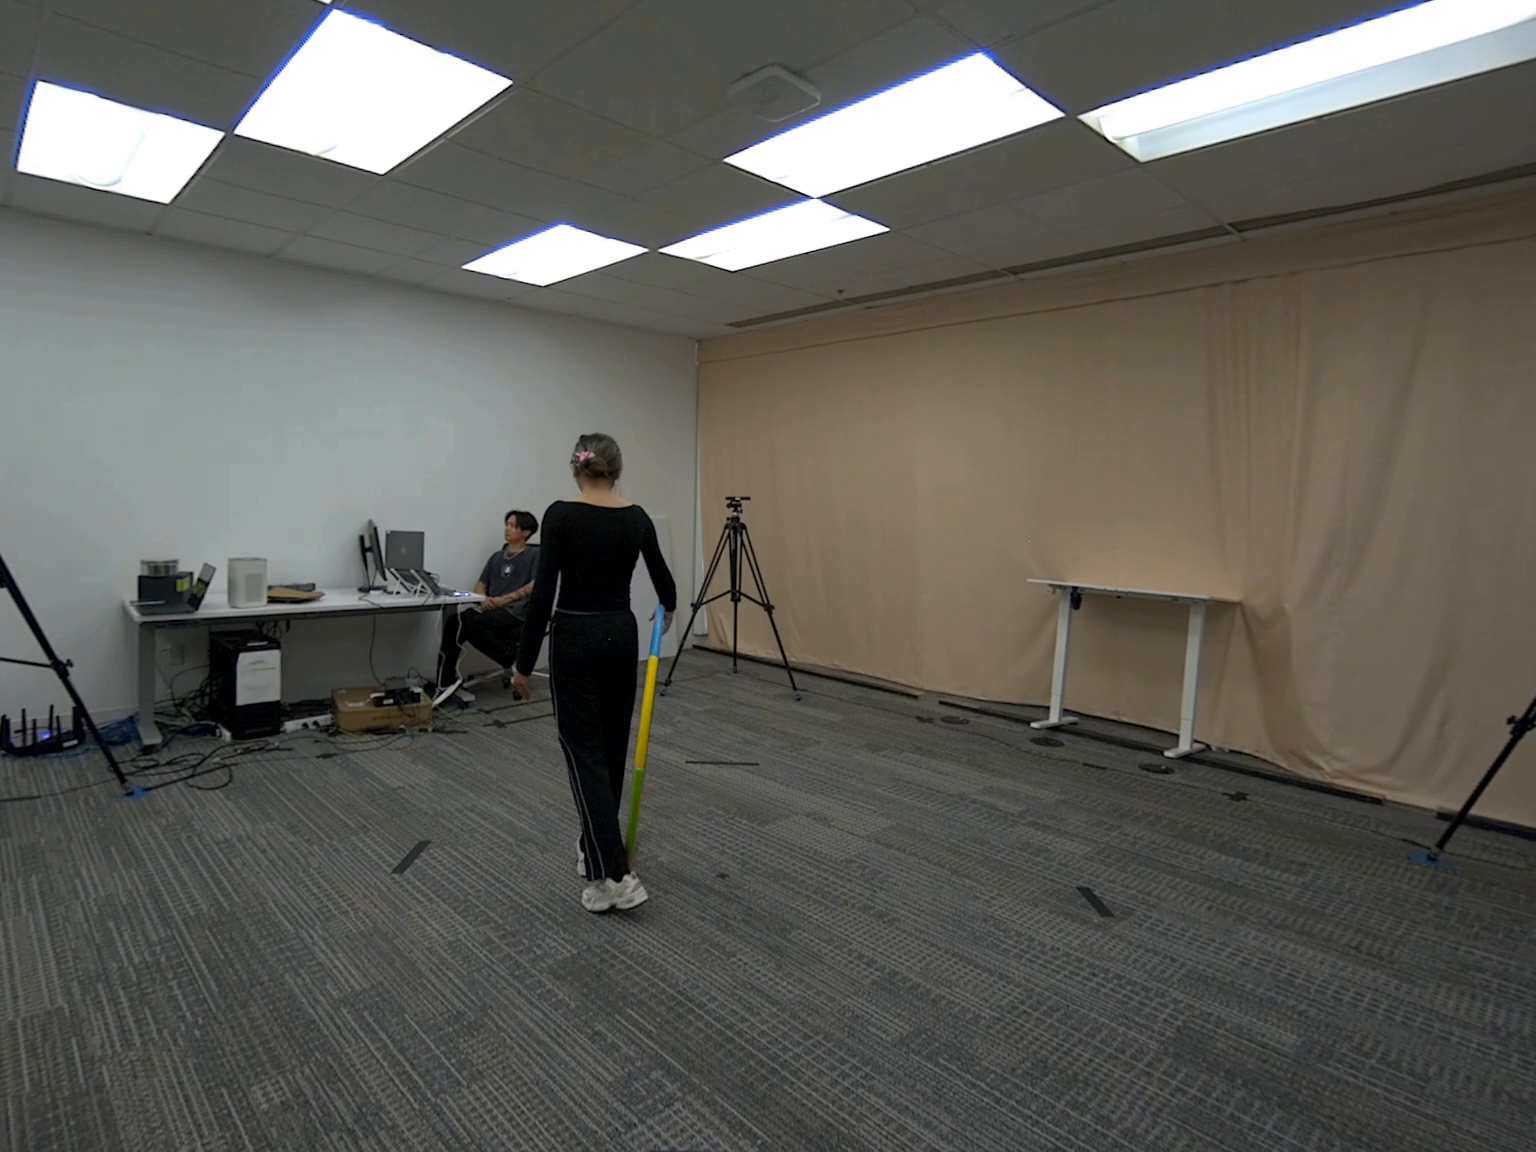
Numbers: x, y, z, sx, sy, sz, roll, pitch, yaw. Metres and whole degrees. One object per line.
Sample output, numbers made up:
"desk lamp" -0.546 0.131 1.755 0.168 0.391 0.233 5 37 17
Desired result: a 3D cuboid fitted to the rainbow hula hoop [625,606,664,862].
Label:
"rainbow hula hoop" -0.471 0.605 3.217 0.035 0.976 0.984 9 4 -6
